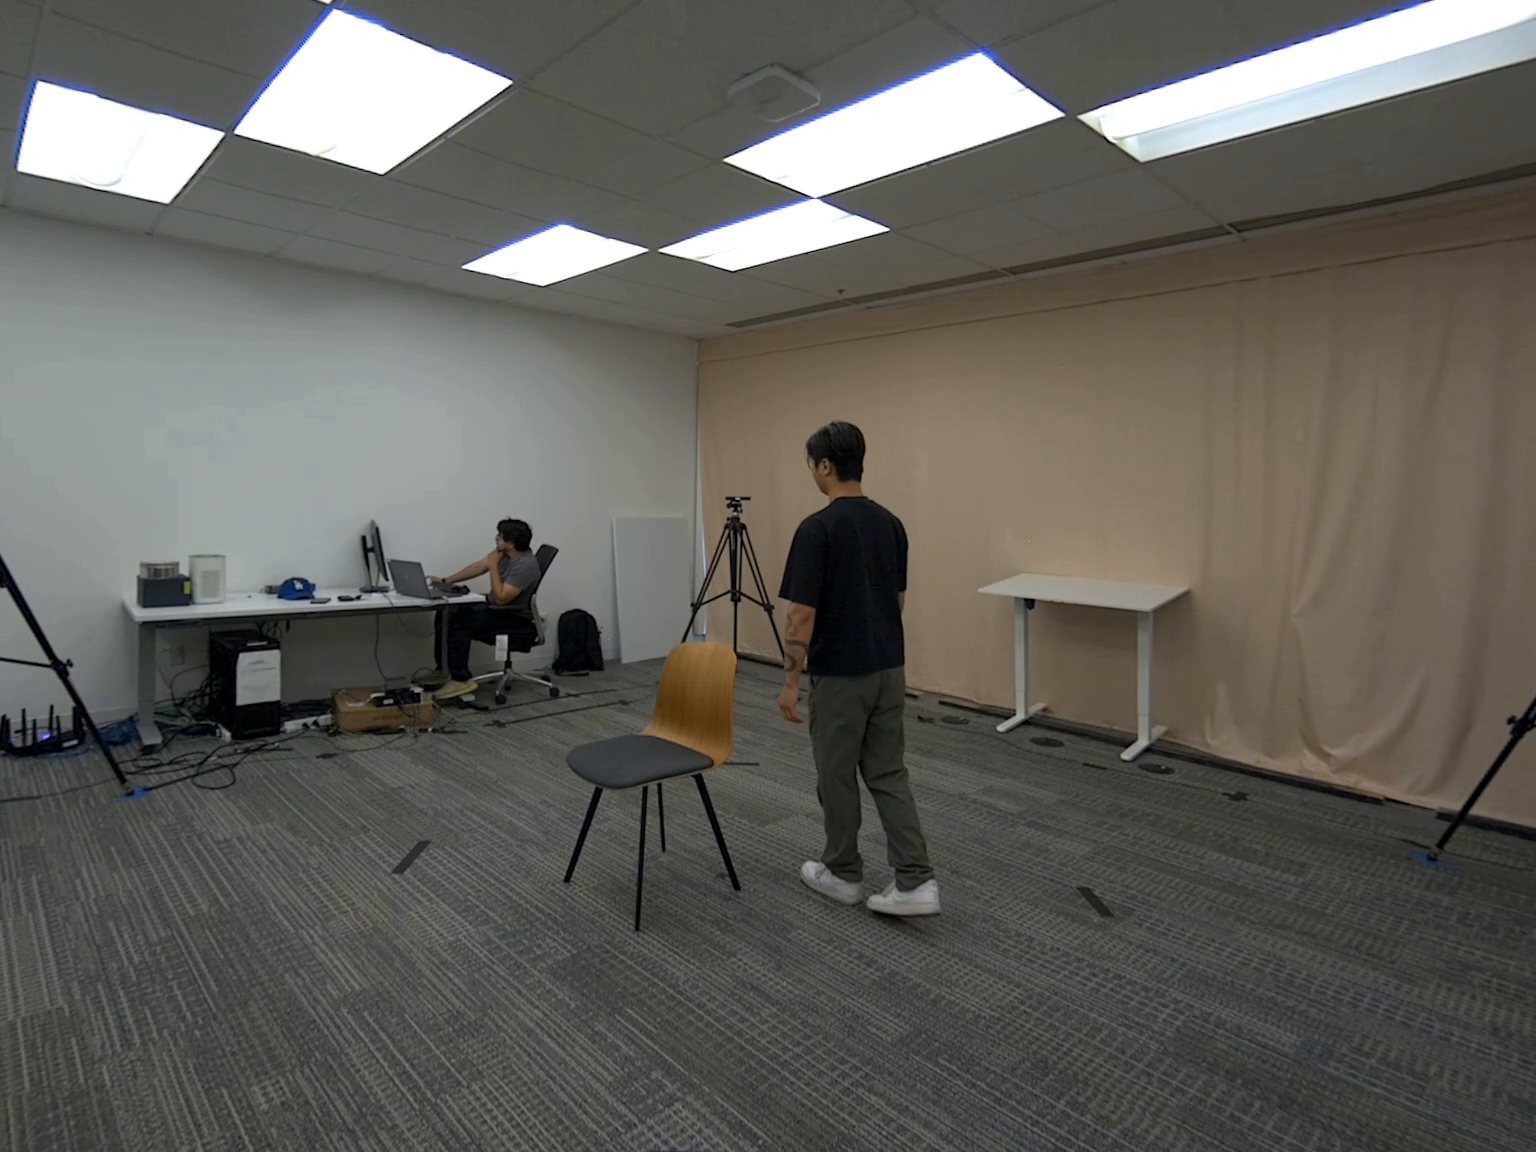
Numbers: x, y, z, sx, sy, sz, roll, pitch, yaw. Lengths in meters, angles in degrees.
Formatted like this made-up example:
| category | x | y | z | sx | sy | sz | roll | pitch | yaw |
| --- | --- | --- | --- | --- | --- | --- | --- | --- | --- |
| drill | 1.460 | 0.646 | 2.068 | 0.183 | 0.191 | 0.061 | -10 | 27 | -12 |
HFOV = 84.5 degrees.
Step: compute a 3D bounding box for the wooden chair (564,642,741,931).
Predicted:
| category | x | y | z | sx | sy | sz | roll | pitch | yaw |
| --- | --- | --- | --- | --- | --- | --- | --- | --- | --- |
| wooden chair | -0.414 | 0.682 | 2.969 | 0.510 | 0.877 | 0.490 | 4 | 1 | -44 |
